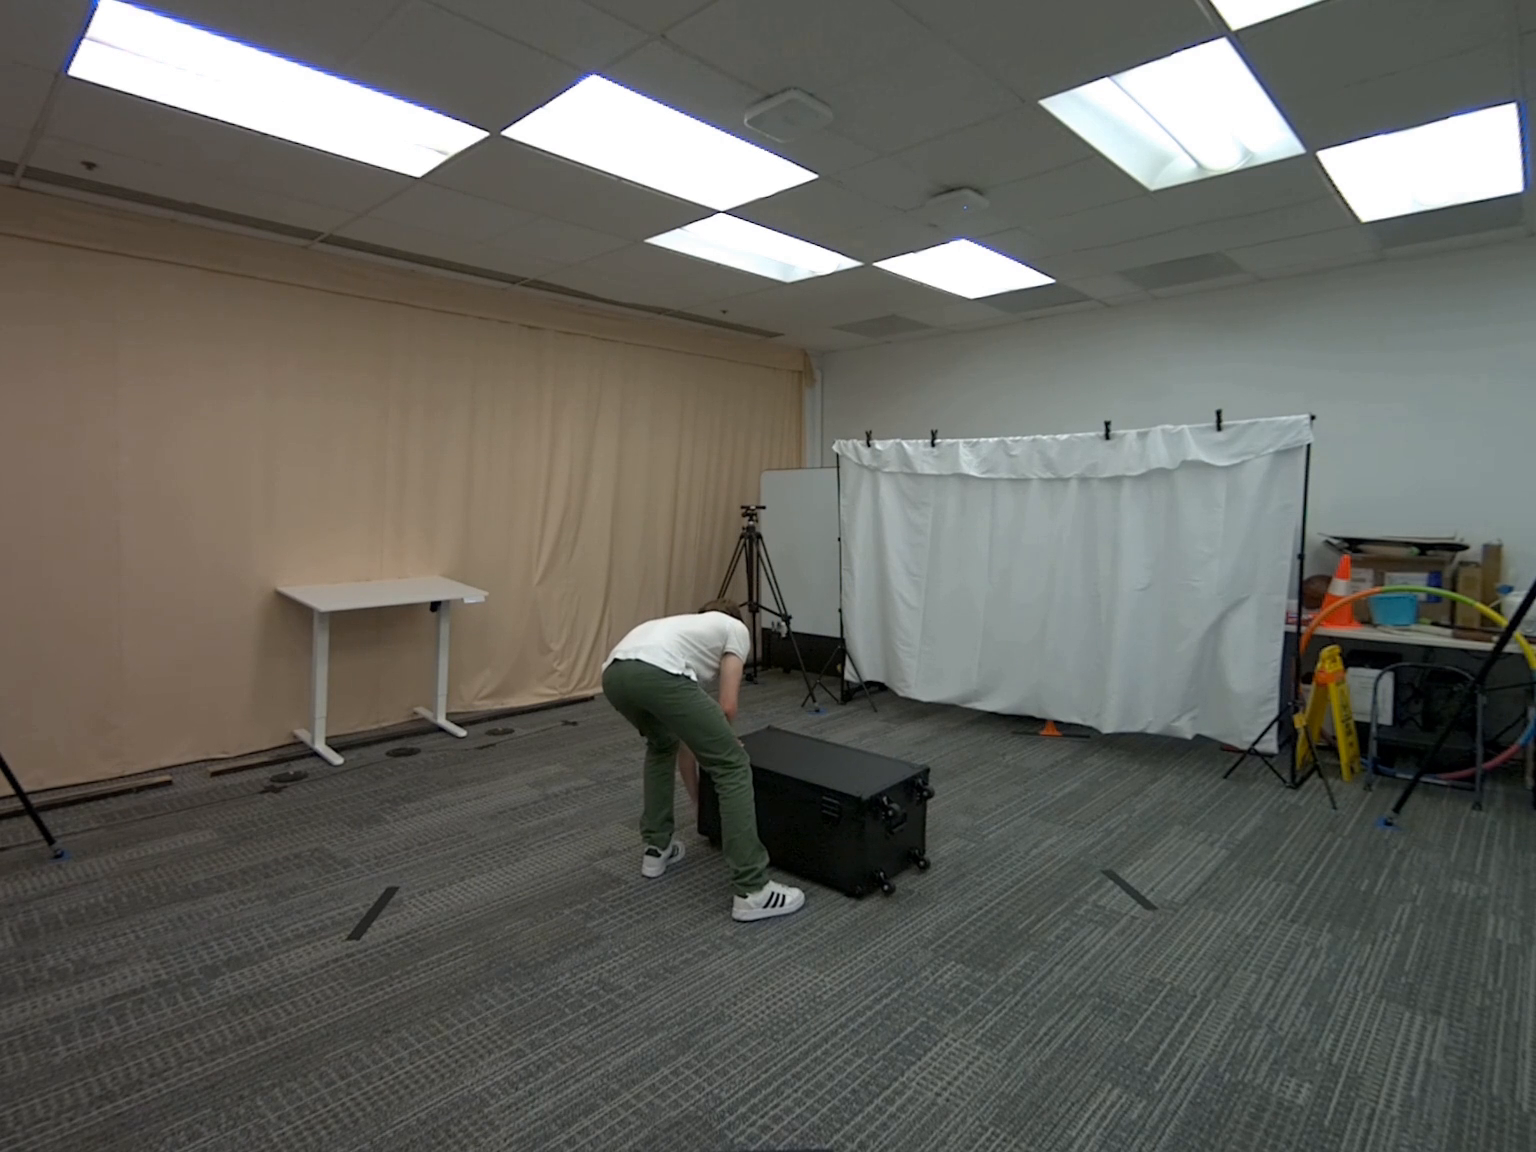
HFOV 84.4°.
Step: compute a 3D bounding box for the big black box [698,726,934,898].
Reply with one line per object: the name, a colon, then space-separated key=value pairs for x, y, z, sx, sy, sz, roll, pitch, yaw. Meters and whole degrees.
big black box: x=0.202 y=0.911 z=3.343 sx=0.898 sy=0.384 sz=0.507 roll=6 pitch=6 yaw=39
